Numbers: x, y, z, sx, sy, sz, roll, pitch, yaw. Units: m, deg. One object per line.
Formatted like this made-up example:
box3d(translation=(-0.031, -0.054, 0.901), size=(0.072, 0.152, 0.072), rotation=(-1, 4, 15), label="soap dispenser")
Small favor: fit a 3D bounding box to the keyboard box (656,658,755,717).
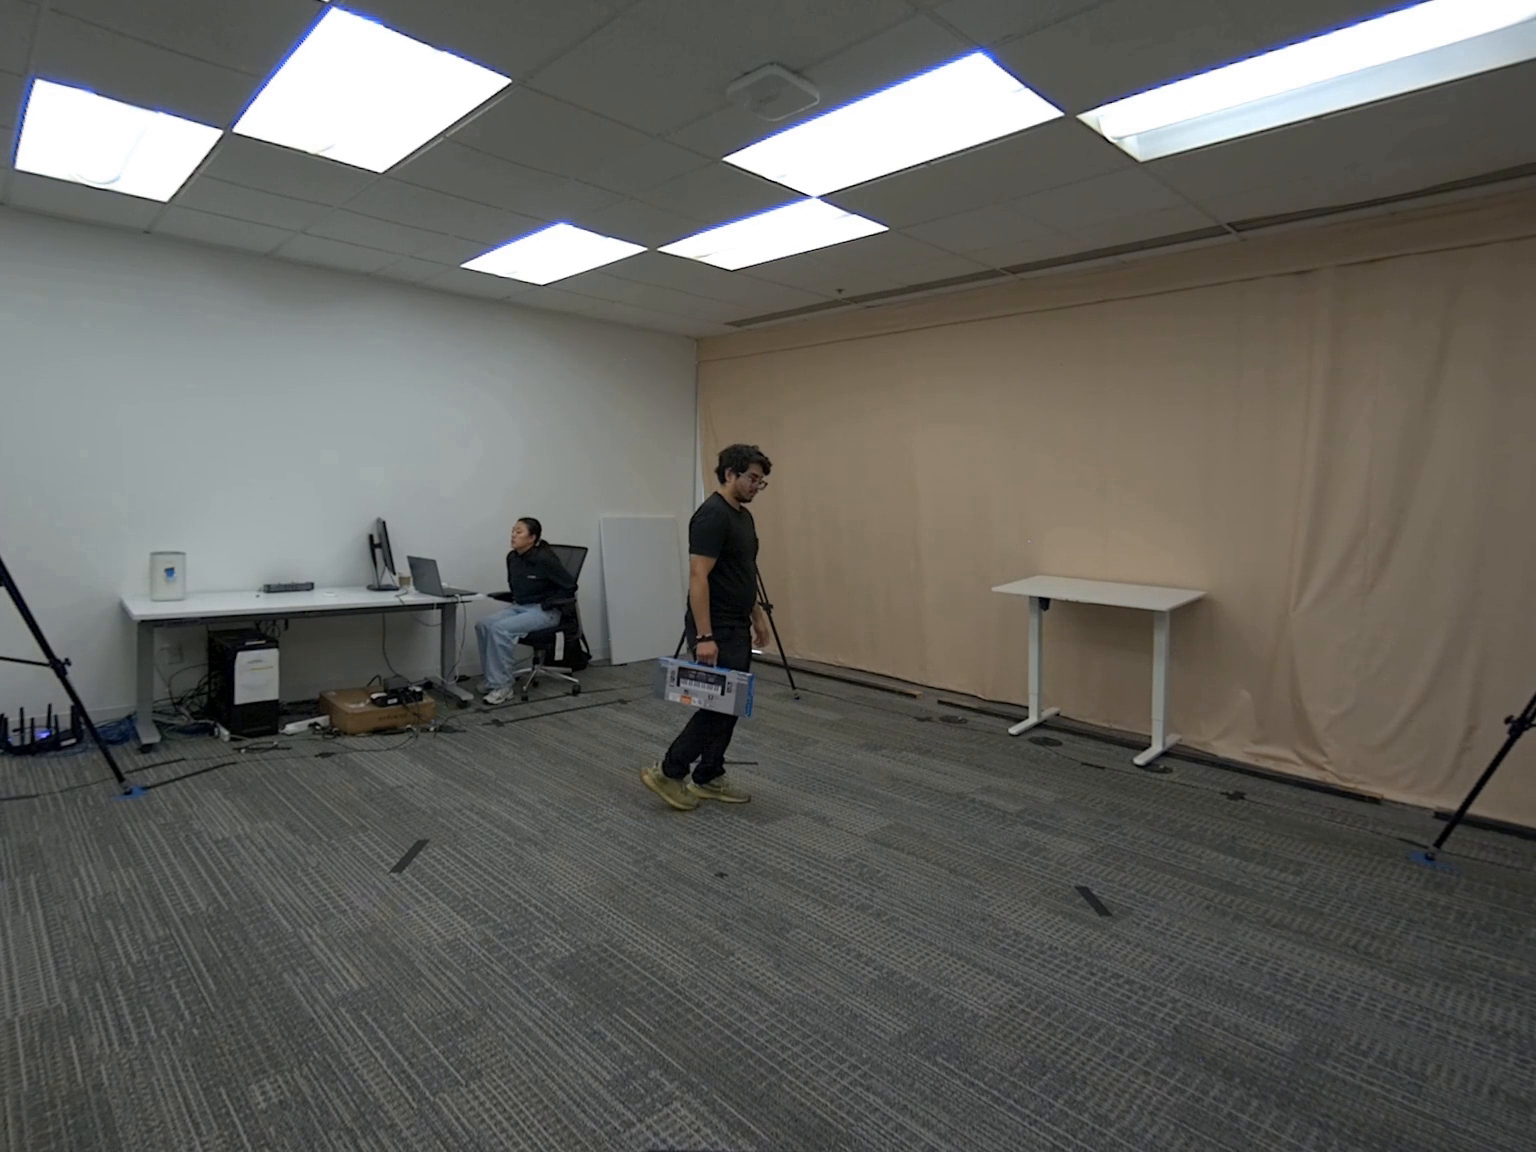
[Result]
box3d(translation=(-0.278, 0.462, 3.516), size=(0.446, 0.175, 0.058), rotation=(8, 3, 25), label="keyboard box")
